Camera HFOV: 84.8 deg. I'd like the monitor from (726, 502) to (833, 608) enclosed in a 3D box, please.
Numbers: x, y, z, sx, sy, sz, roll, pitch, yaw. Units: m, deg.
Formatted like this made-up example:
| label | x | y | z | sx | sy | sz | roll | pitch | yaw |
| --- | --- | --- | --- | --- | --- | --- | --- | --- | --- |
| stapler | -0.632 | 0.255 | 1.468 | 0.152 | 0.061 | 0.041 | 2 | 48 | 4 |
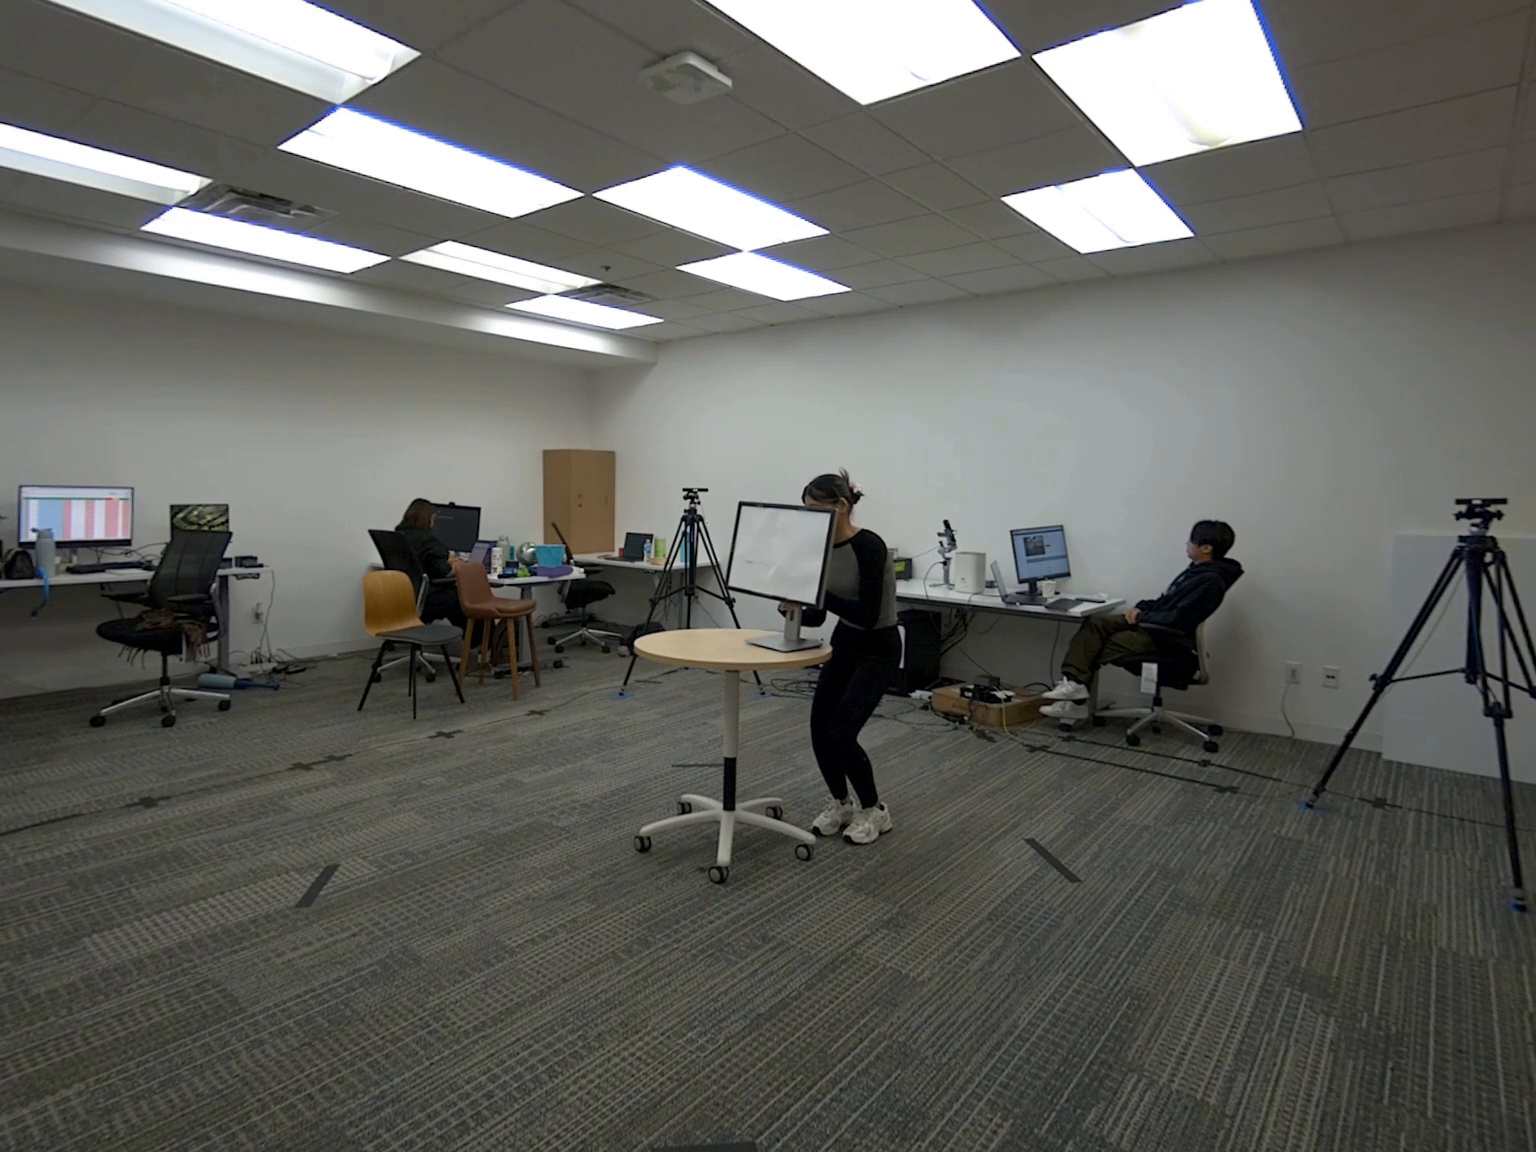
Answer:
| label | x | y | z | sx | sy | sz | roll | pitch | yaw |
| --- | --- | --- | --- | --- | --- | --- | --- | --- | --- |
| monitor | 0.052 | -0.006 | 3.266 | 0.182 | 0.520 | 0.558 | -4 | 7 | -40 |
